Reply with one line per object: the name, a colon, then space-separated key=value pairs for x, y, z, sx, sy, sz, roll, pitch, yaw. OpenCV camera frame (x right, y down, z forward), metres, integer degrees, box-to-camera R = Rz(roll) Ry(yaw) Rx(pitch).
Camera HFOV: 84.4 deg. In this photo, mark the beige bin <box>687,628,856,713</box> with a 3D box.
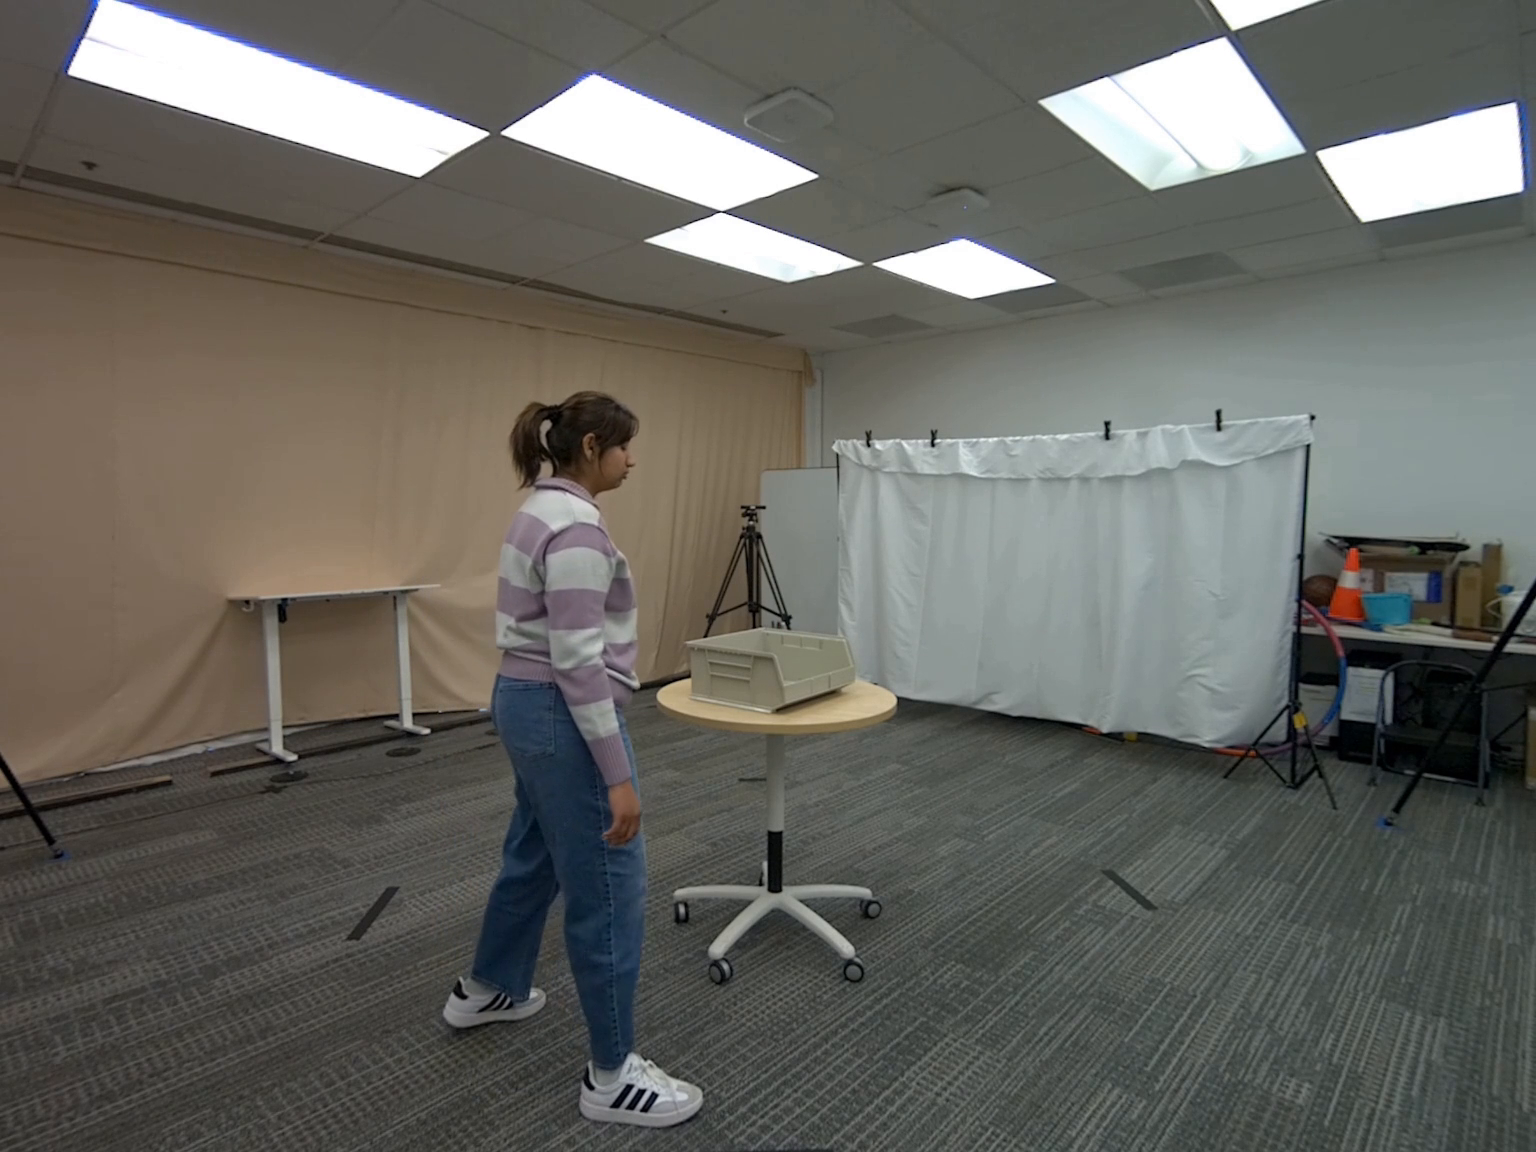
beige bin: x=0.018 y=0.297 z=2.690 sx=0.389 sy=0.188 sz=0.410 roll=1 pitch=5 yaw=36
